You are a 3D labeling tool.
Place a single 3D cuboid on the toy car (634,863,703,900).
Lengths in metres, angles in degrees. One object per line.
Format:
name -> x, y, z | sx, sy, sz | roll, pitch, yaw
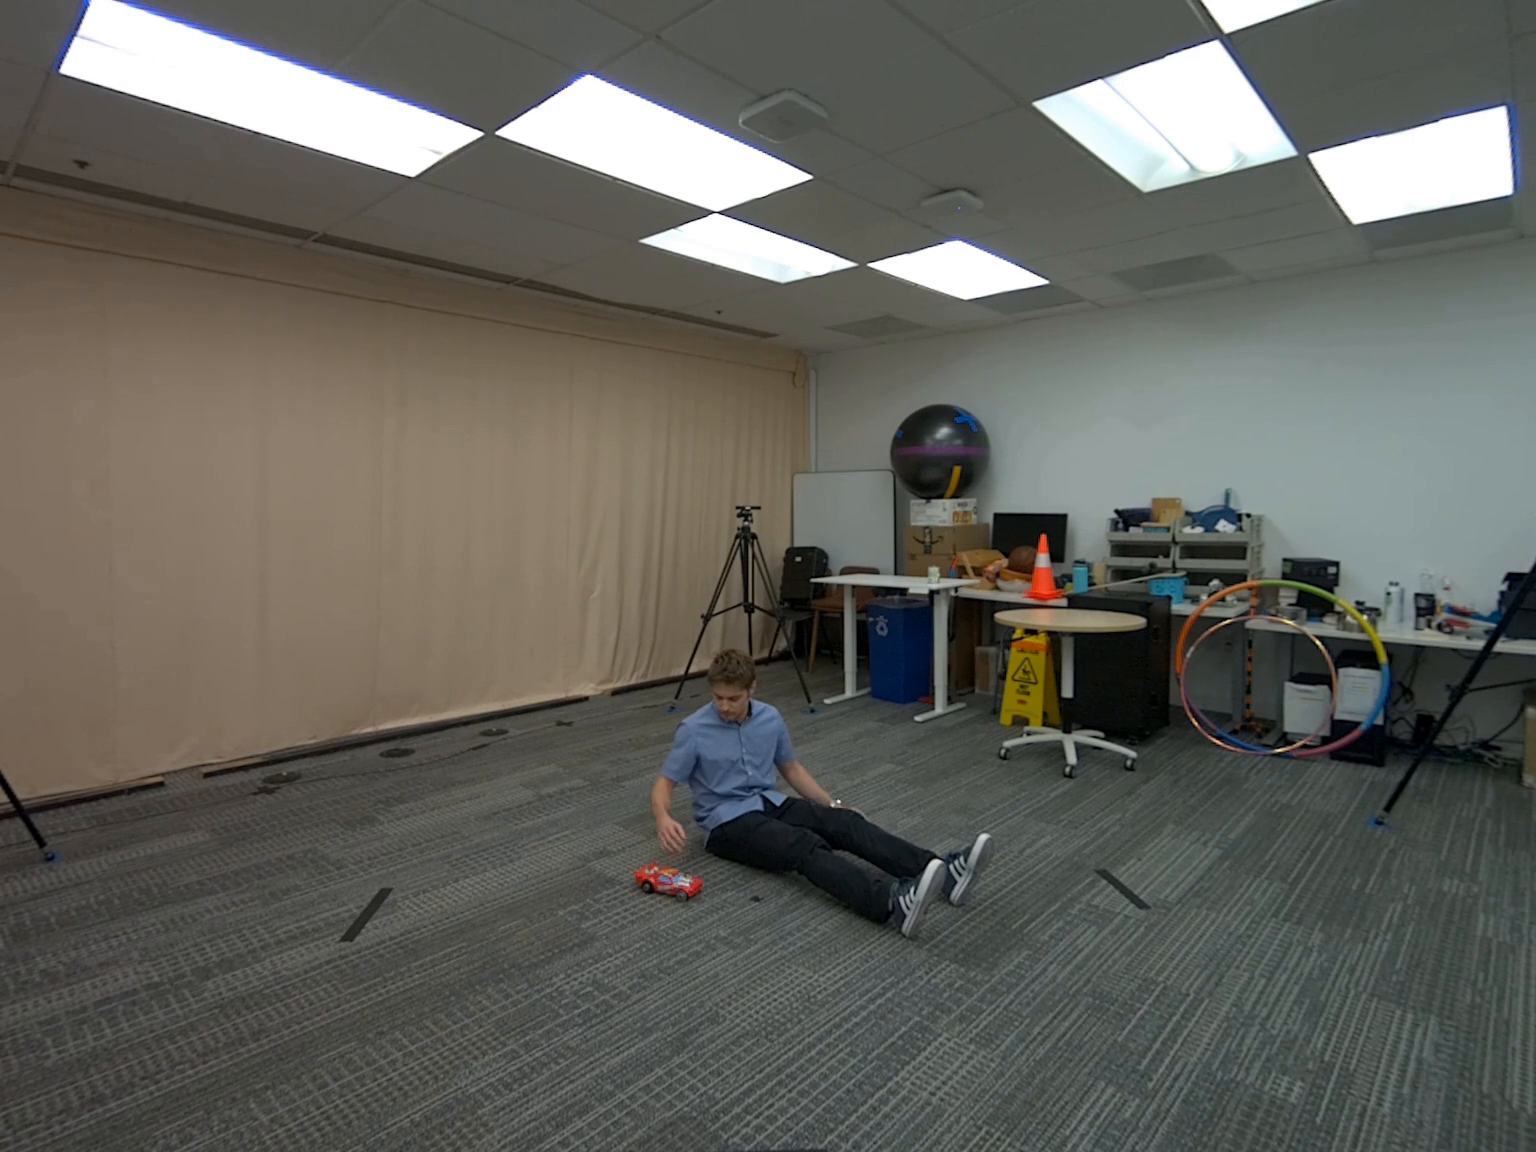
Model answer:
toy car -> -0.373, 1.112, 3.051 | 0.262, 0.083, 0.127 | 14, 10, 28
